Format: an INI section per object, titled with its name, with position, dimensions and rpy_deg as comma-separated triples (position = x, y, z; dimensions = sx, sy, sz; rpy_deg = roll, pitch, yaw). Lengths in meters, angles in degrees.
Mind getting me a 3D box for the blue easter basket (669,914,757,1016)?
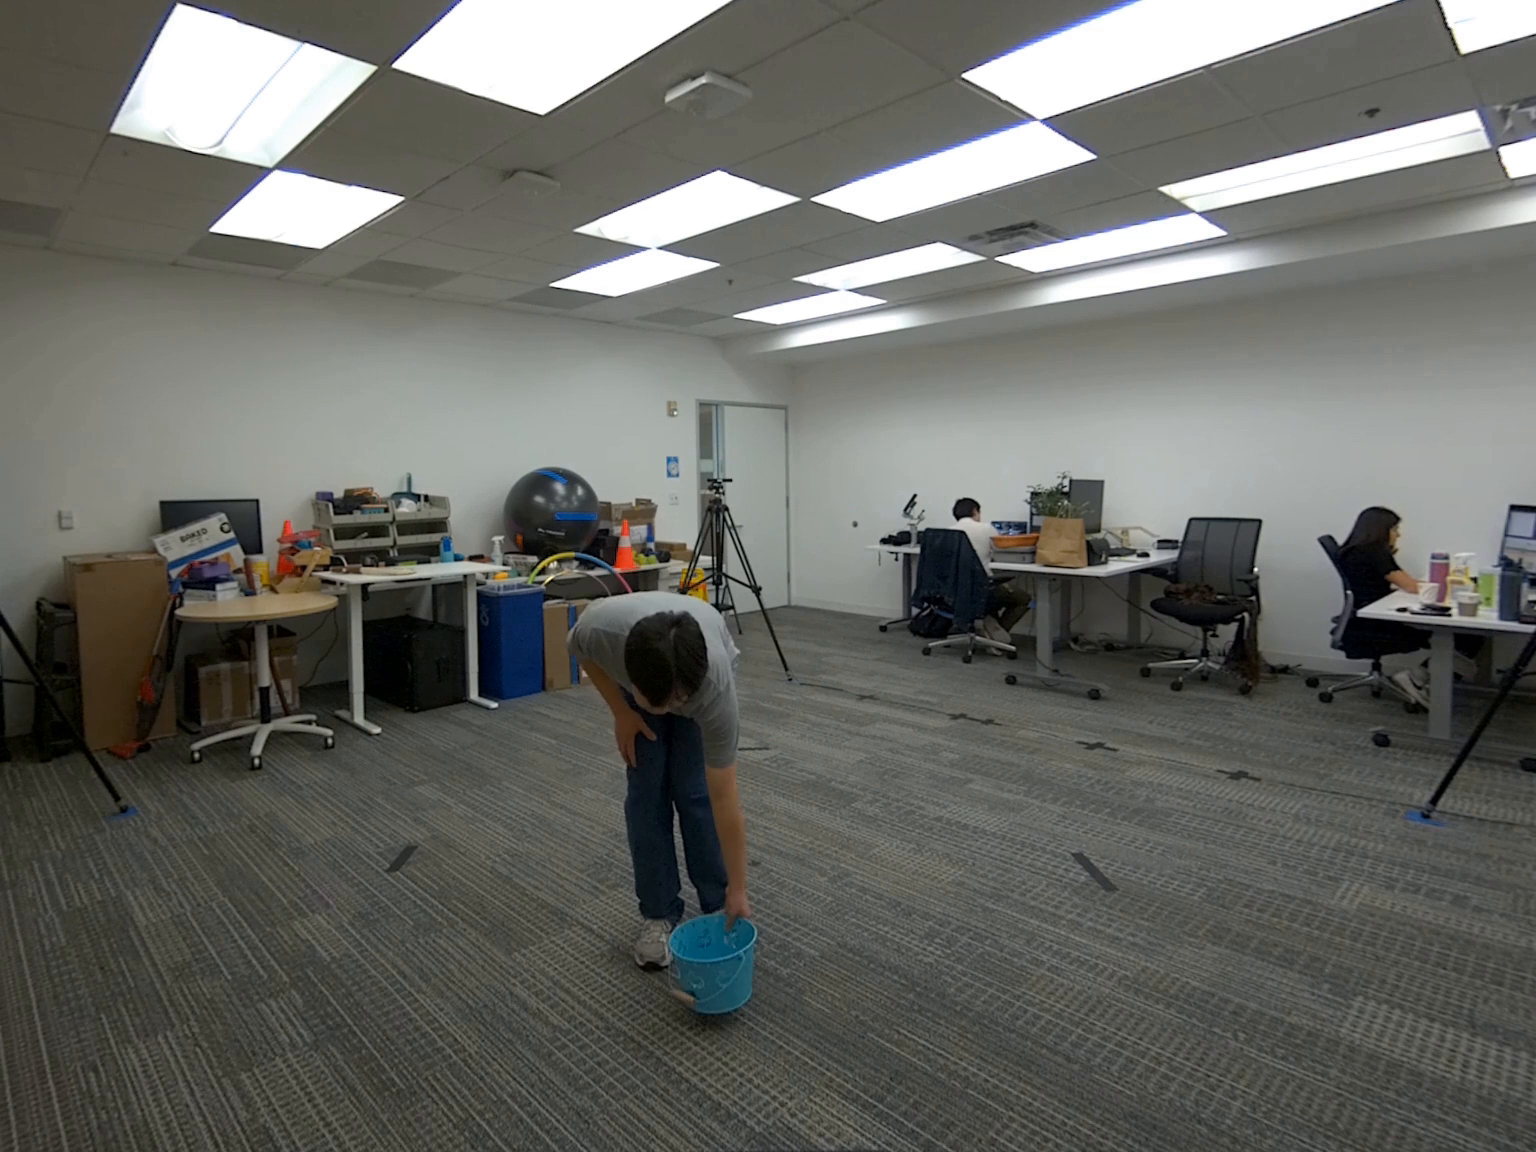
[blue easter basket]
position = -0.136, 1.015, 2.240
dimensions = 0.243, 0.155, 0.245
rpy_deg = -5, 5, -1
